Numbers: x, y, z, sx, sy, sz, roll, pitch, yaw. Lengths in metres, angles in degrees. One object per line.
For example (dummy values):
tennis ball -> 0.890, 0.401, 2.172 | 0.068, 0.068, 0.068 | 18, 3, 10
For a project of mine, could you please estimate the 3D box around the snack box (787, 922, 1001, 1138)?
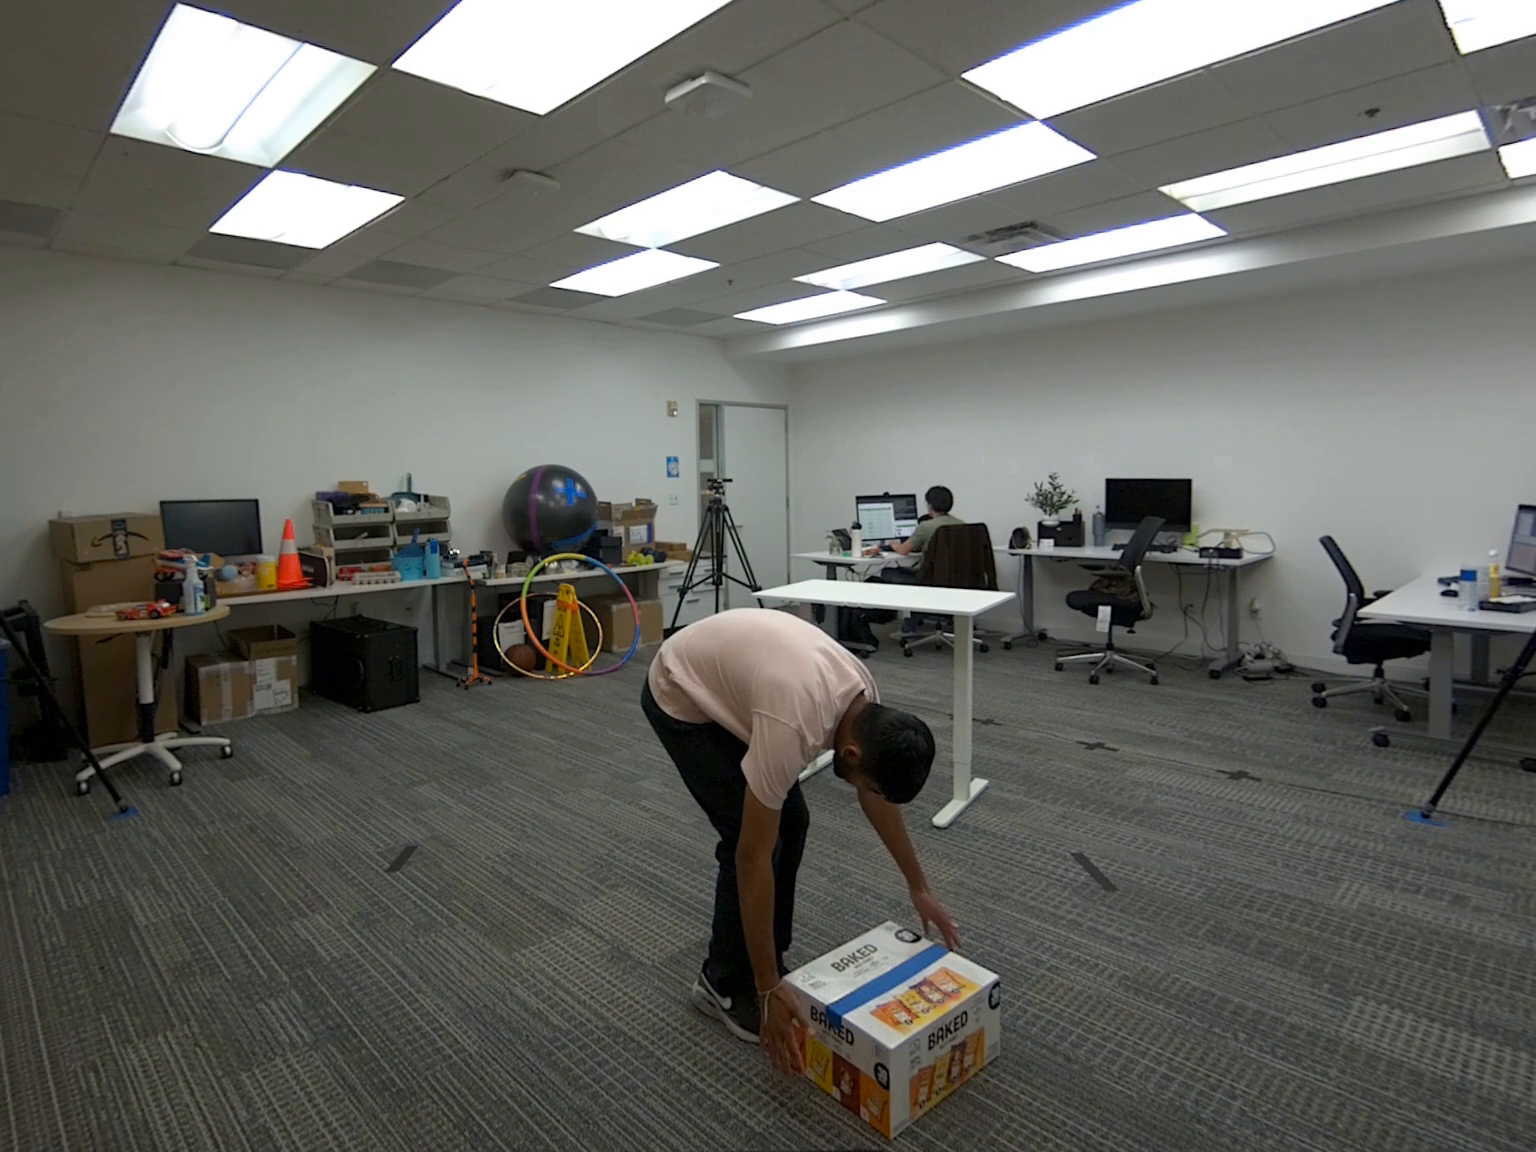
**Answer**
snack box -> 0.299, 1.061, 2.050 | 0.395, 0.205, 0.351 | -7, 8, -40
